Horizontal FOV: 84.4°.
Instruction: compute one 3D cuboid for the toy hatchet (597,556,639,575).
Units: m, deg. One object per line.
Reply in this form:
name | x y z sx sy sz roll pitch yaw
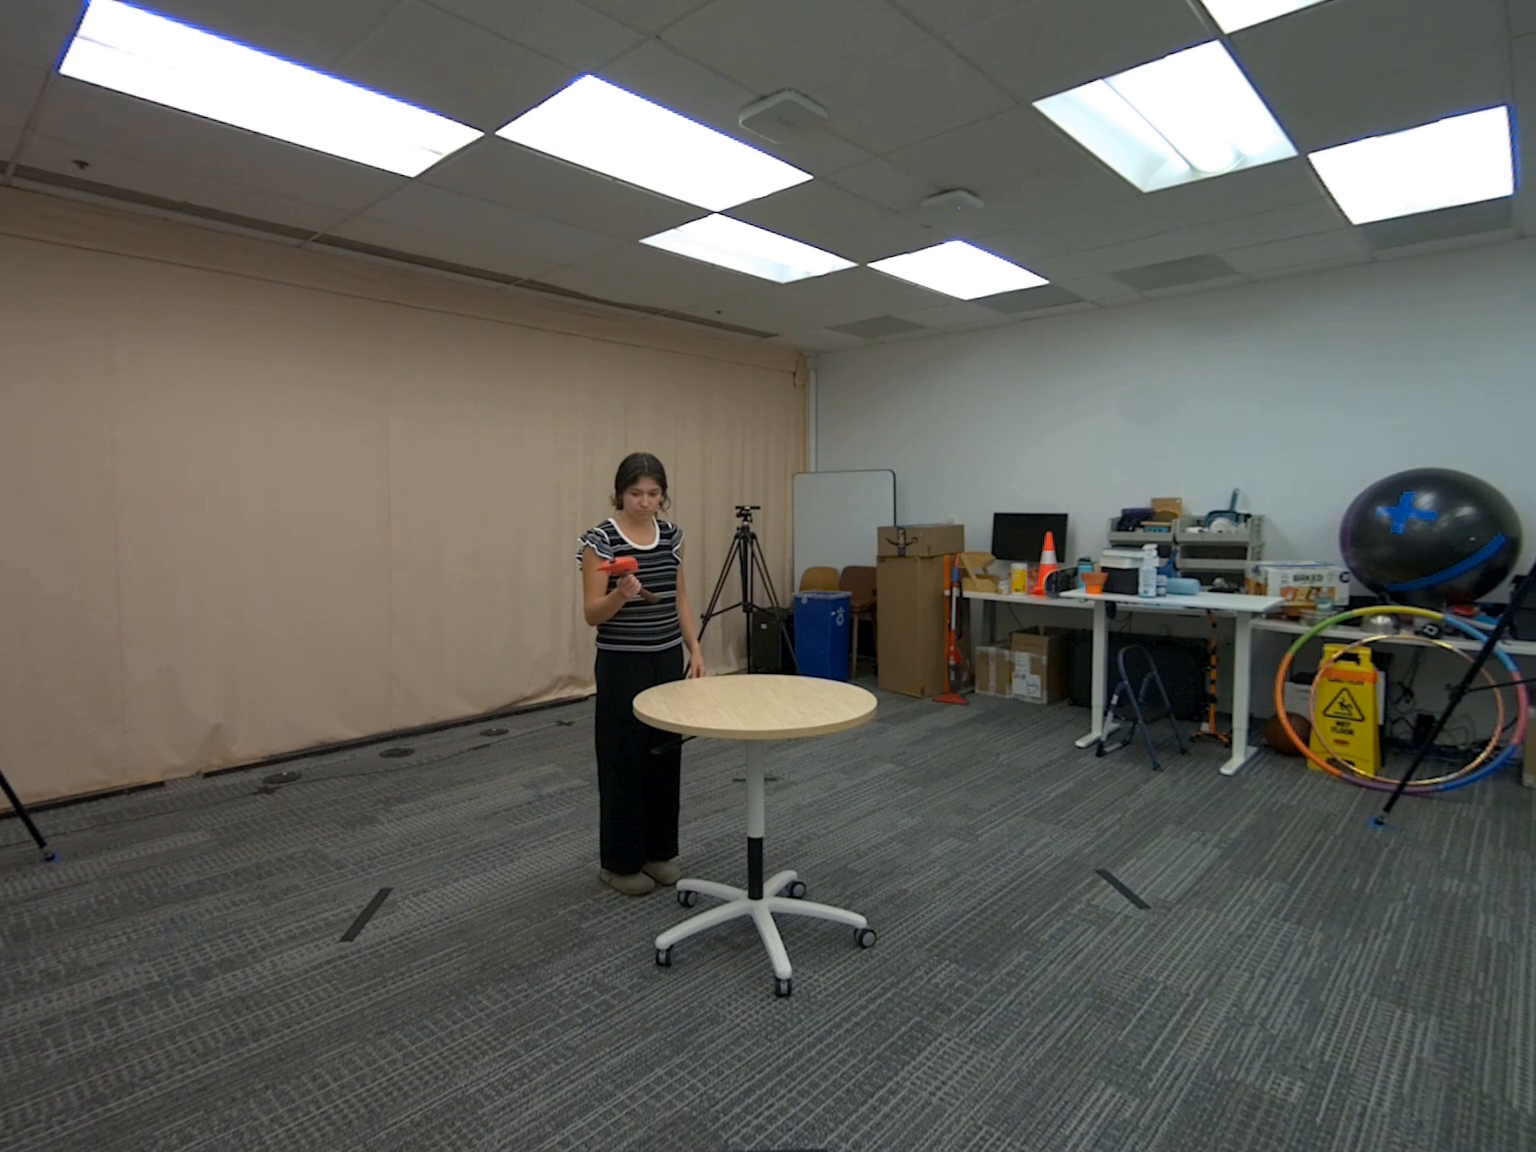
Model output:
toy hatchet | -0.416 0.006 2.729 0.133 0.030 0.260 -29 -43 31
